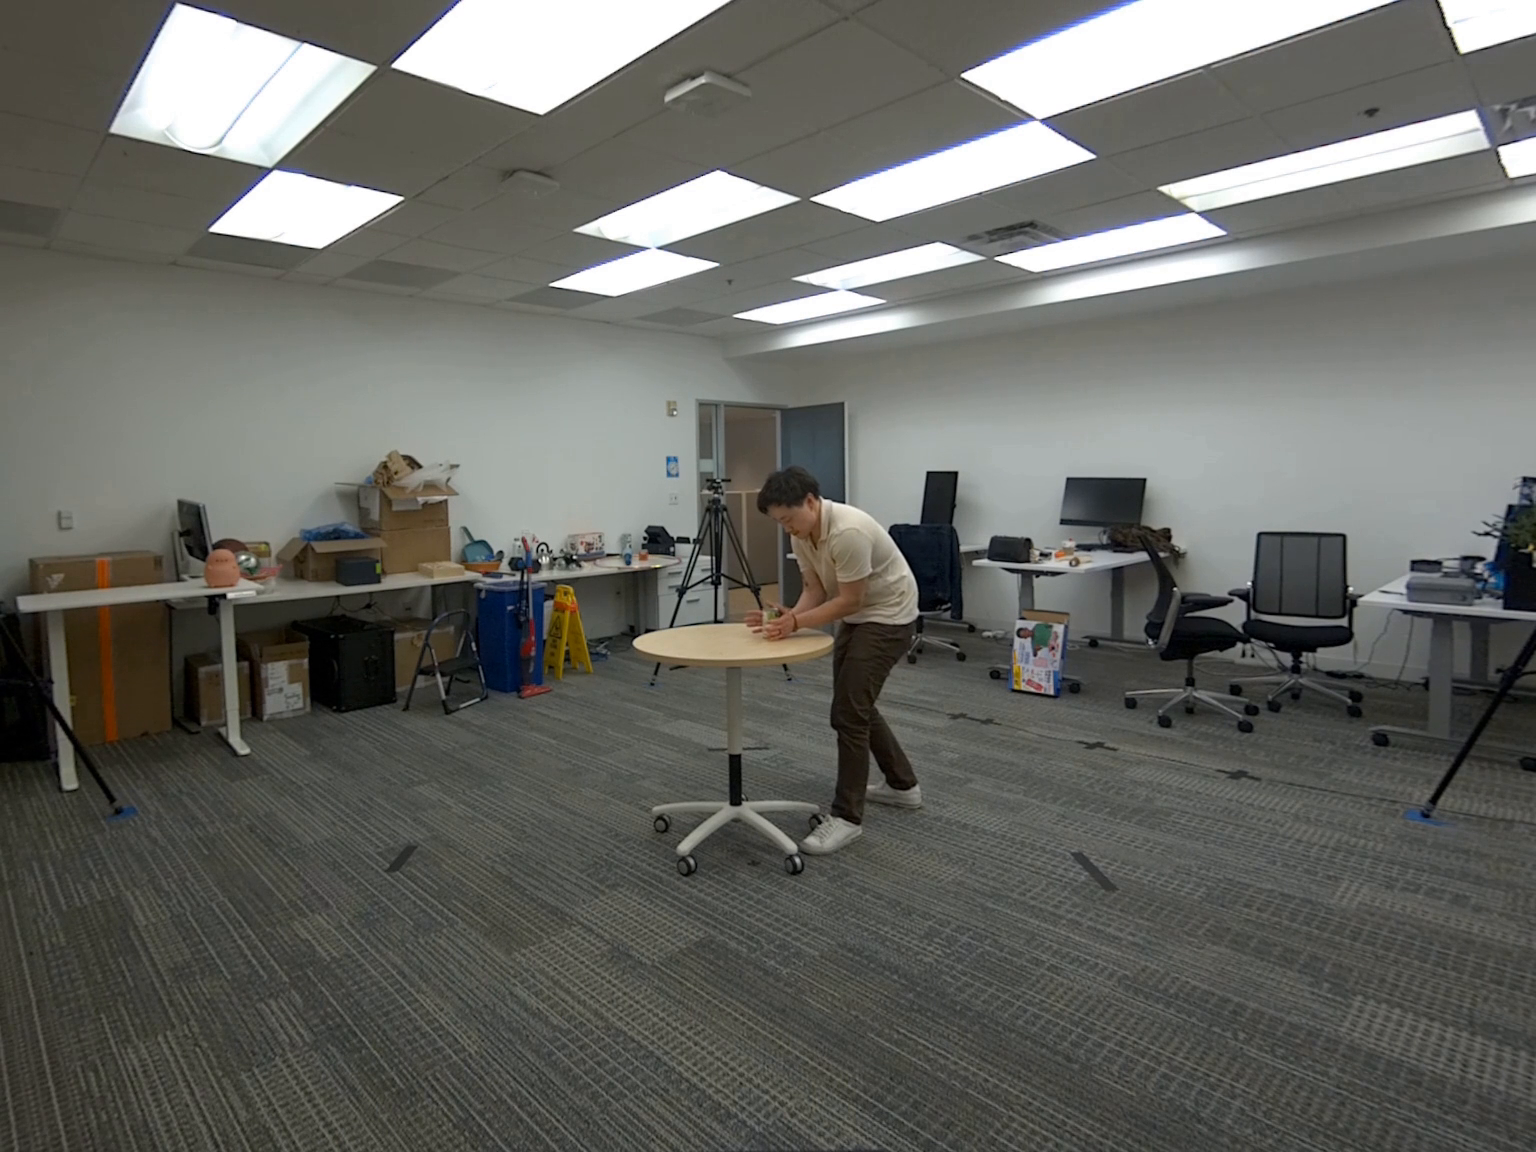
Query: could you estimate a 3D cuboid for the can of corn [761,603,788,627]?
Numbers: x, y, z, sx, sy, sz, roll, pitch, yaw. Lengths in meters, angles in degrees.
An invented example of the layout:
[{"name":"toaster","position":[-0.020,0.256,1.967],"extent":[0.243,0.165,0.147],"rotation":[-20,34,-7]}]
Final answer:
[{"name":"can of corn","position":[0.019,0.187,3.300],"extent":[0.074,0.111,0.074],"rotation":[4,2,-2]}]
